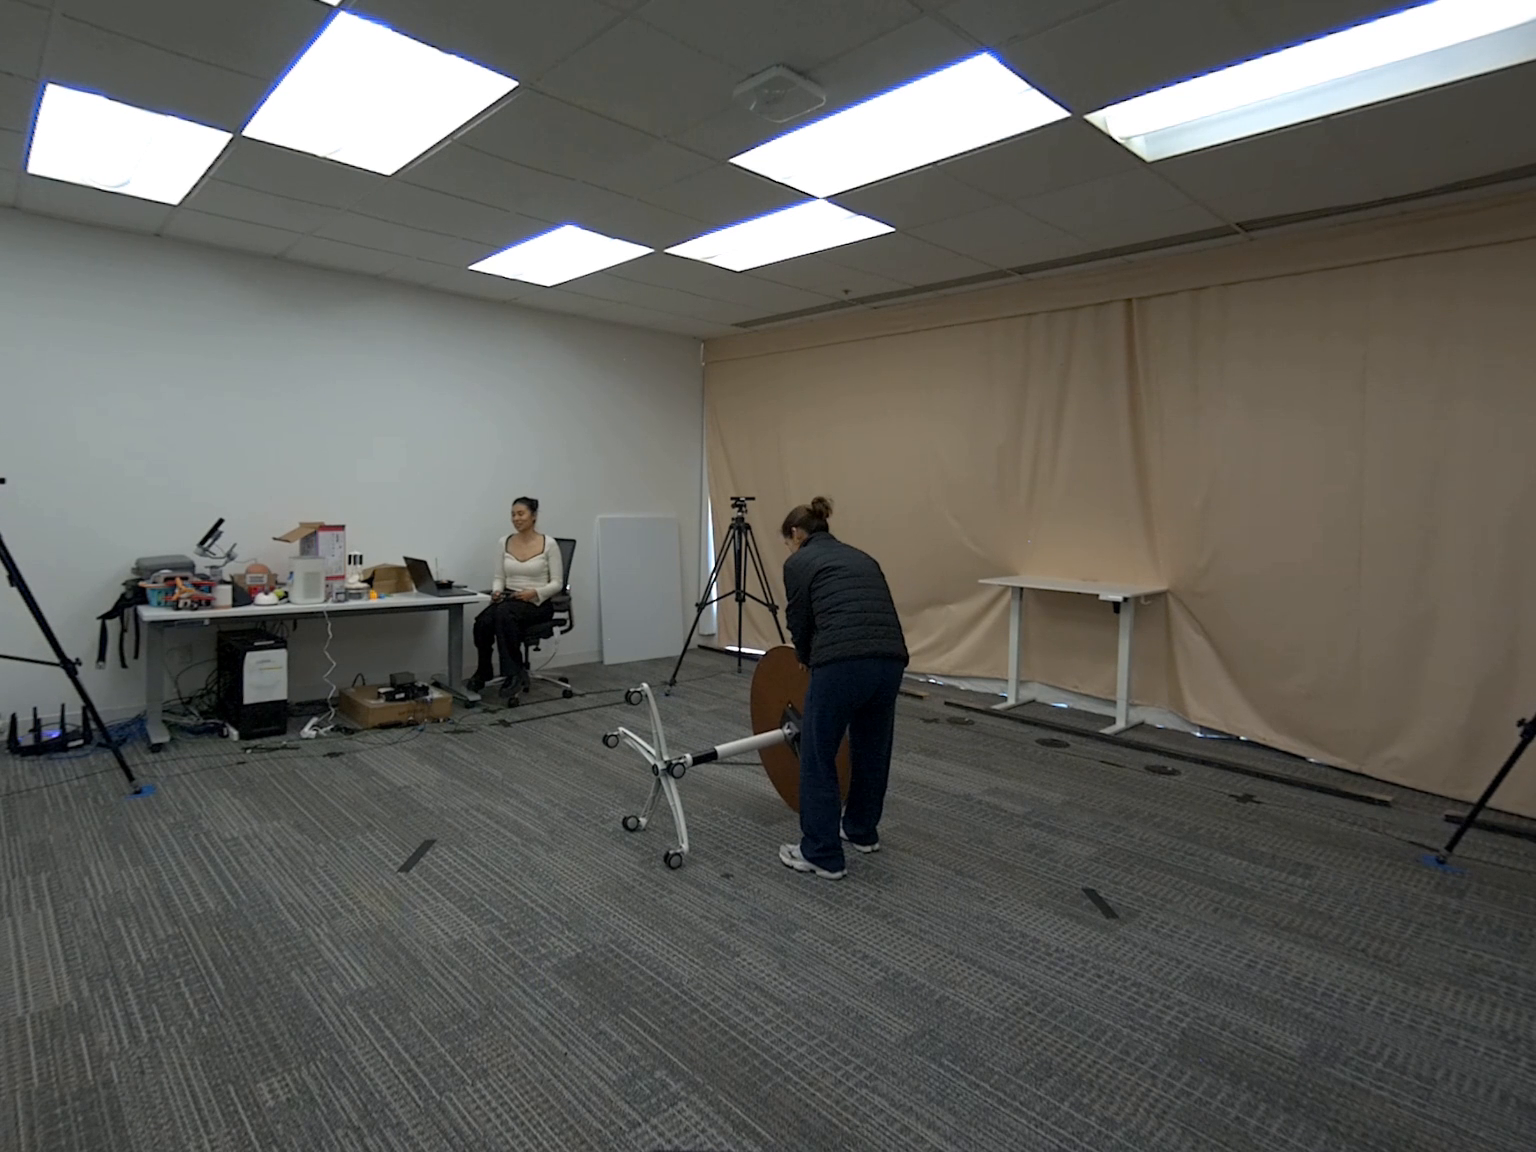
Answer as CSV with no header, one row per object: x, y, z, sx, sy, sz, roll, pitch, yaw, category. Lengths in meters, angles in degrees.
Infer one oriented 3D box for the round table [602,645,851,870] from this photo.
-0.188,0.737,3.499,0.773,0.780,0.804,-10,9,-31,round table
